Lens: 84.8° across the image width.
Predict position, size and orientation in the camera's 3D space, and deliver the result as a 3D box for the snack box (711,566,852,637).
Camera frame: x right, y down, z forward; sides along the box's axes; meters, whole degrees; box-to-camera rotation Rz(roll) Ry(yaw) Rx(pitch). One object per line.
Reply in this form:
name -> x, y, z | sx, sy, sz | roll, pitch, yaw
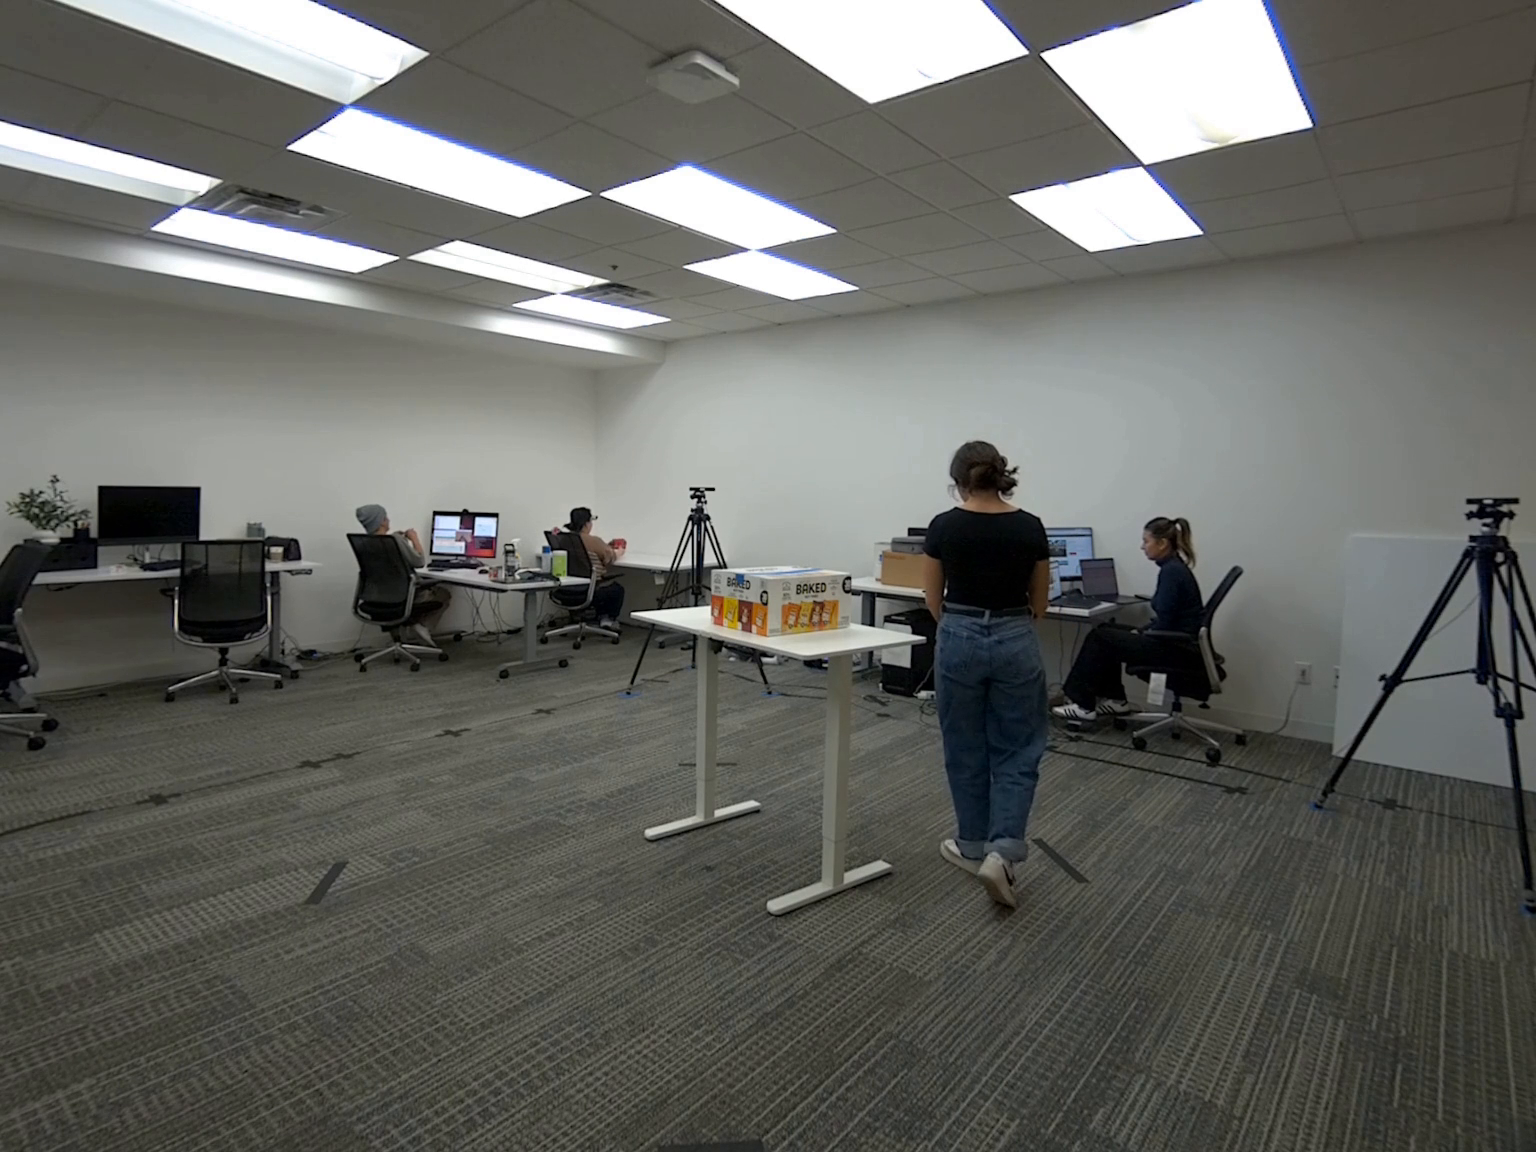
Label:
snack box -> 0.035, 0.080, 3.180 | 0.393, 0.205, 0.352 | -3, 7, -39
